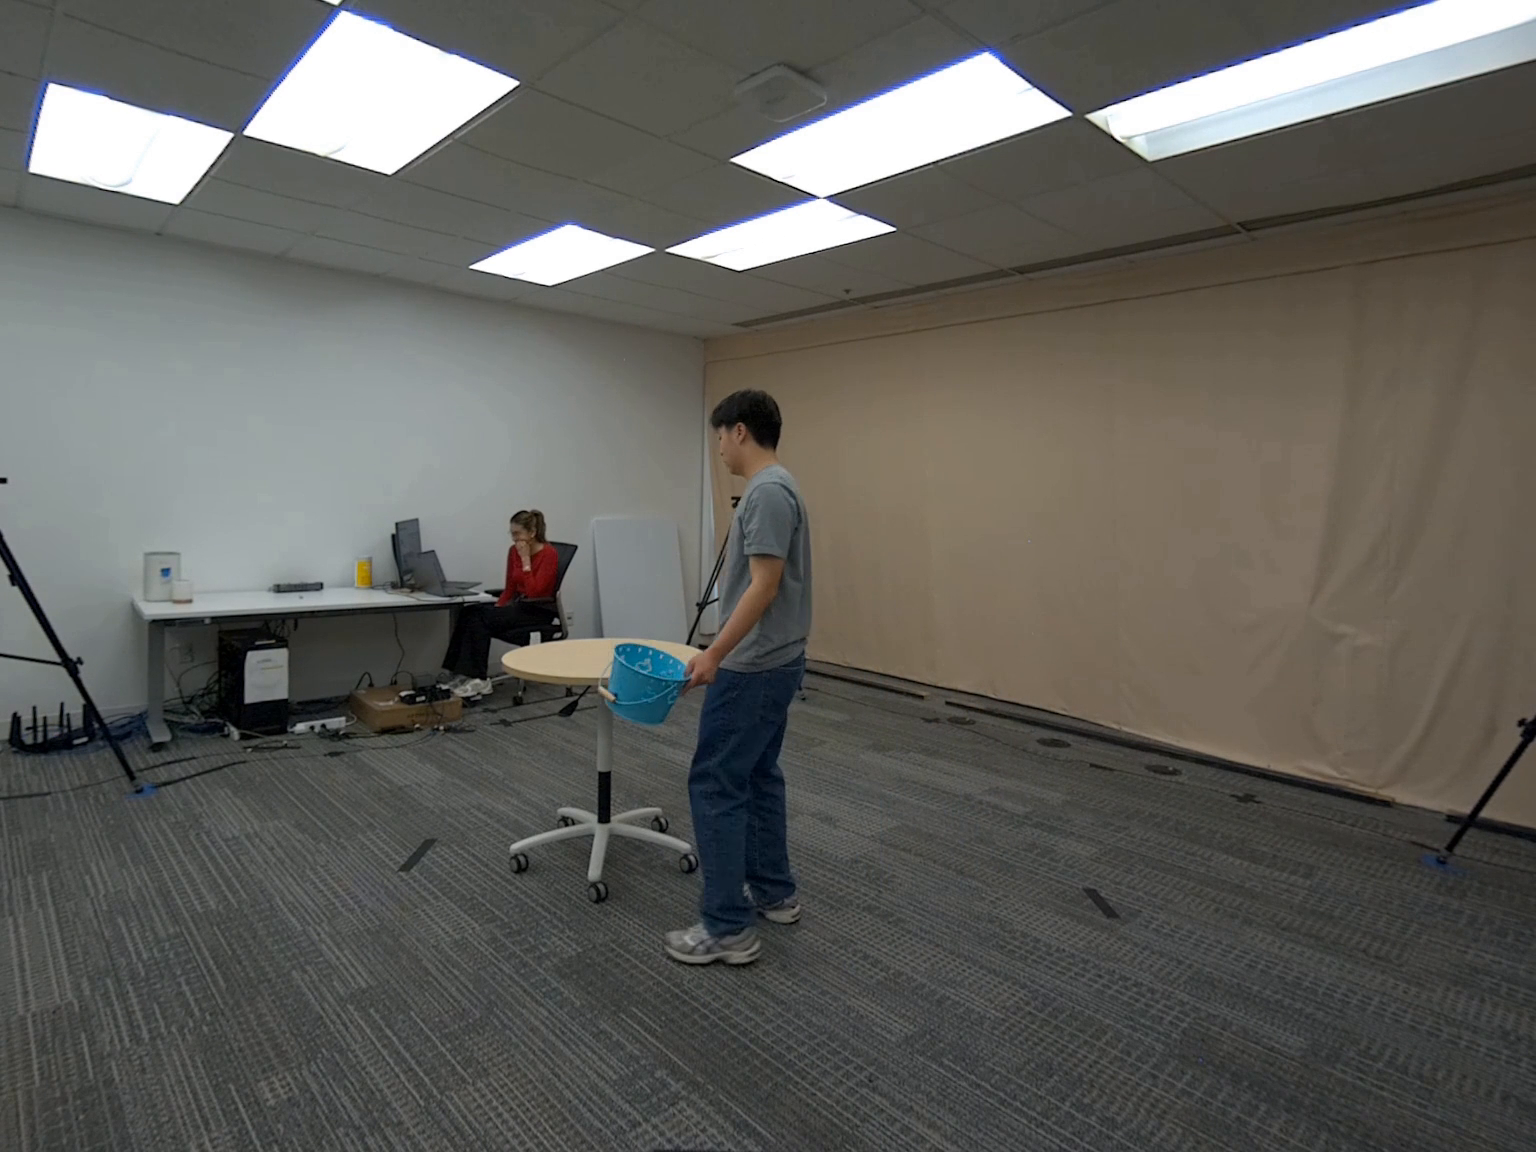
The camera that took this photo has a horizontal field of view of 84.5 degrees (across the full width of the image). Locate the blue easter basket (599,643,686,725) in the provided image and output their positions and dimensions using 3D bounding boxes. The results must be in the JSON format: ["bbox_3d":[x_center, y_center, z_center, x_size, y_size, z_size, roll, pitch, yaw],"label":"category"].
[{"bbox_3d":[-0.363,0.319,2.373,0.243,0.155,0.245,18,10,-5],"label":"blue easter basket"}]
